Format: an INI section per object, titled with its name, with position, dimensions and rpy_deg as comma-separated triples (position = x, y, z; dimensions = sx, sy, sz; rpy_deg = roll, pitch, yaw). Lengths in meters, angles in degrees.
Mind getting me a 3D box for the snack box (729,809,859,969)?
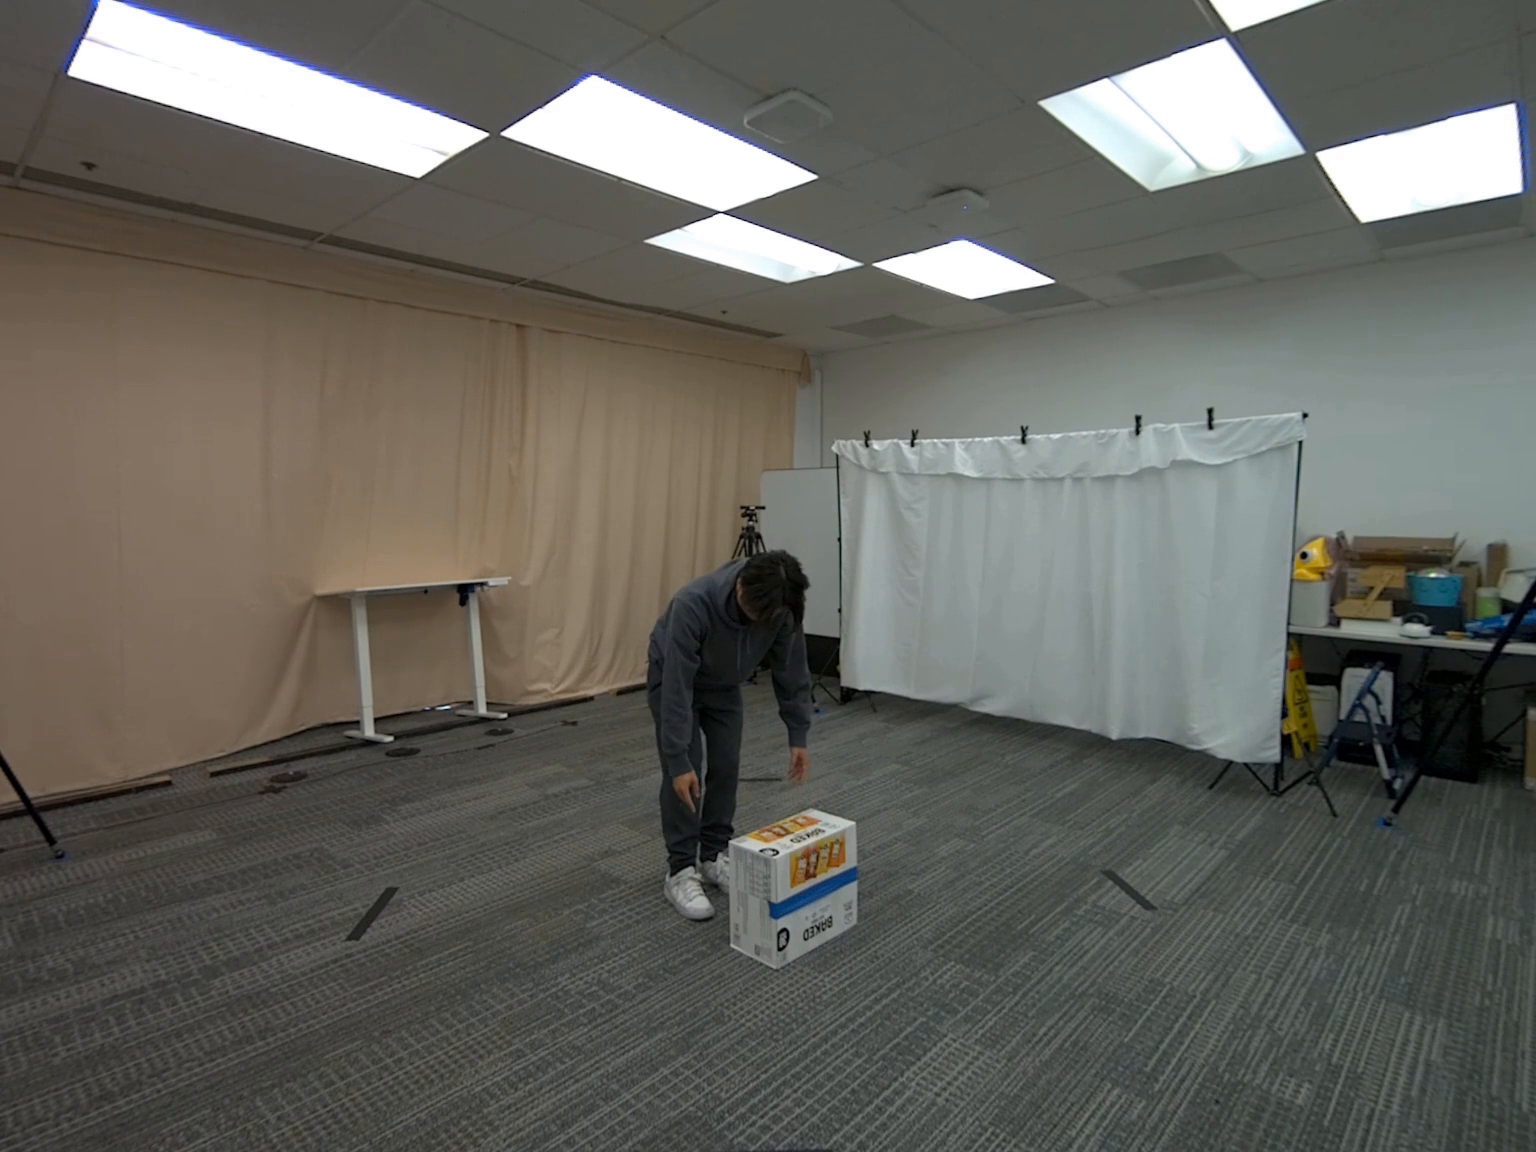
[snack box]
position = 0.092, 0.999, 2.724
dimensions = 0.212, 0.340, 0.393
rpy_deg = 1, 3, 44
